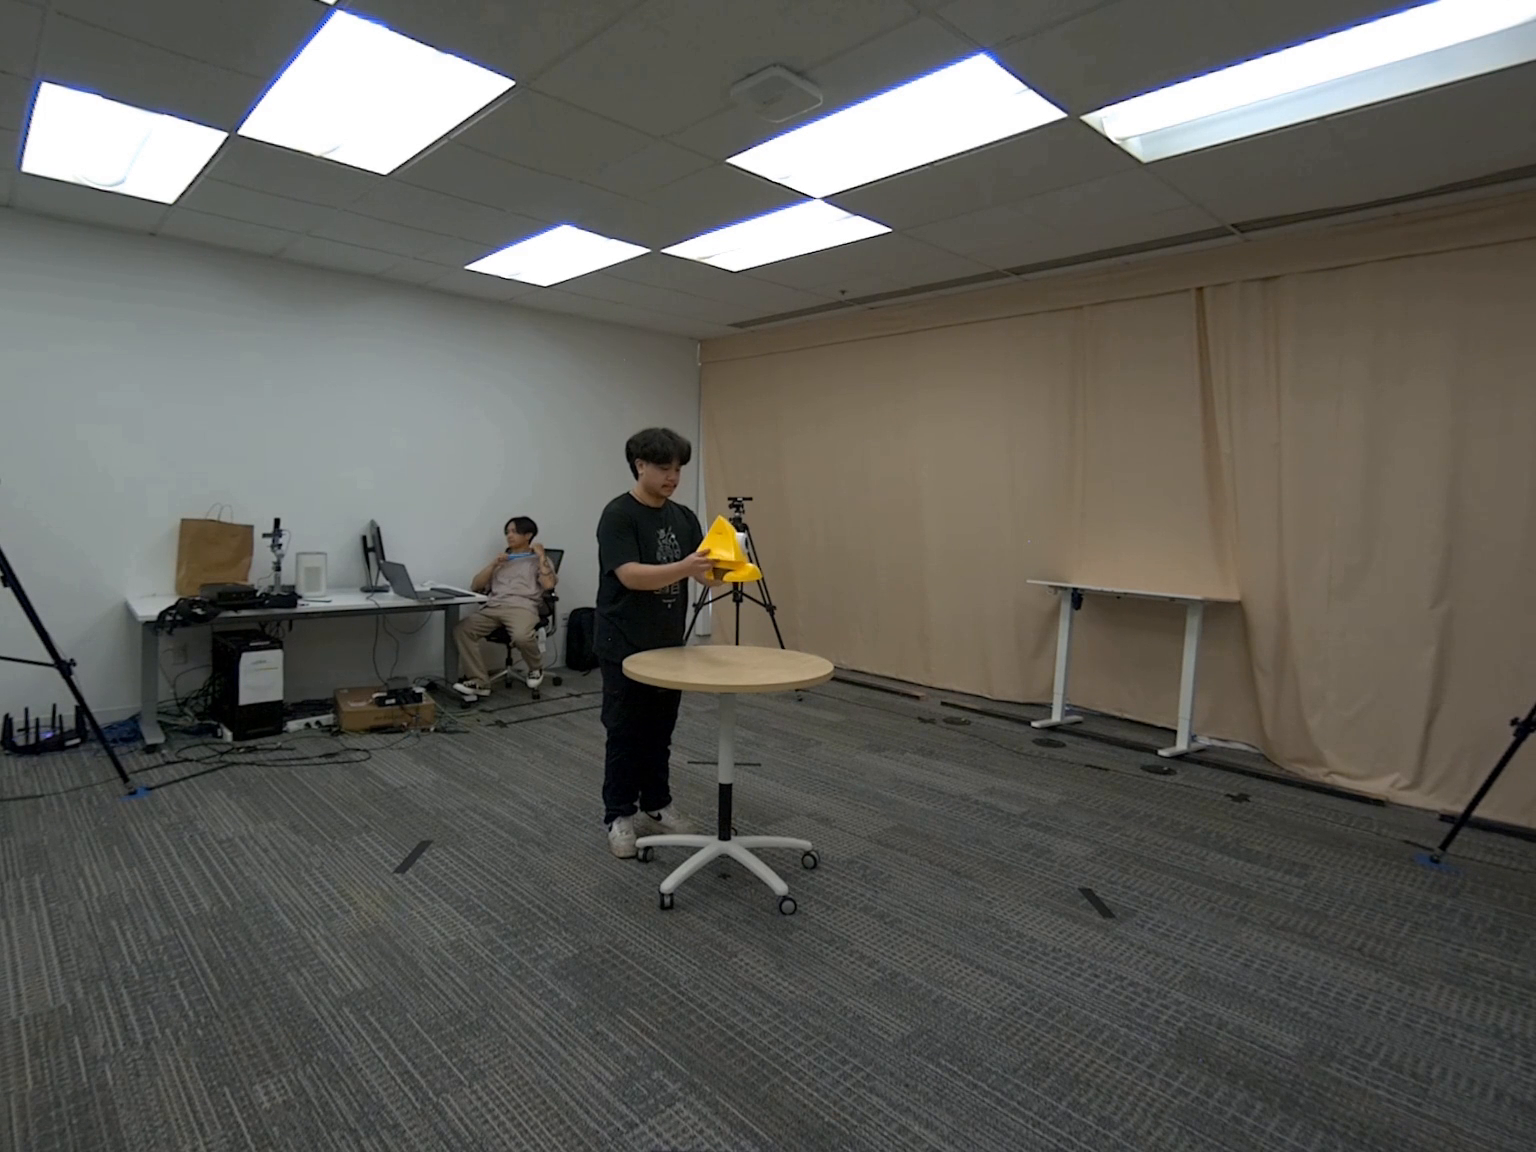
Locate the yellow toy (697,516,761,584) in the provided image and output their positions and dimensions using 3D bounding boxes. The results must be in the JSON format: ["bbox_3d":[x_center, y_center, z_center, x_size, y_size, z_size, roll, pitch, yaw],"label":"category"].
[{"bbox_3d":[-0.134,-0.112,3.031,0.210,0.229,0.189,6,9,42],"label":"yellow toy"}]
